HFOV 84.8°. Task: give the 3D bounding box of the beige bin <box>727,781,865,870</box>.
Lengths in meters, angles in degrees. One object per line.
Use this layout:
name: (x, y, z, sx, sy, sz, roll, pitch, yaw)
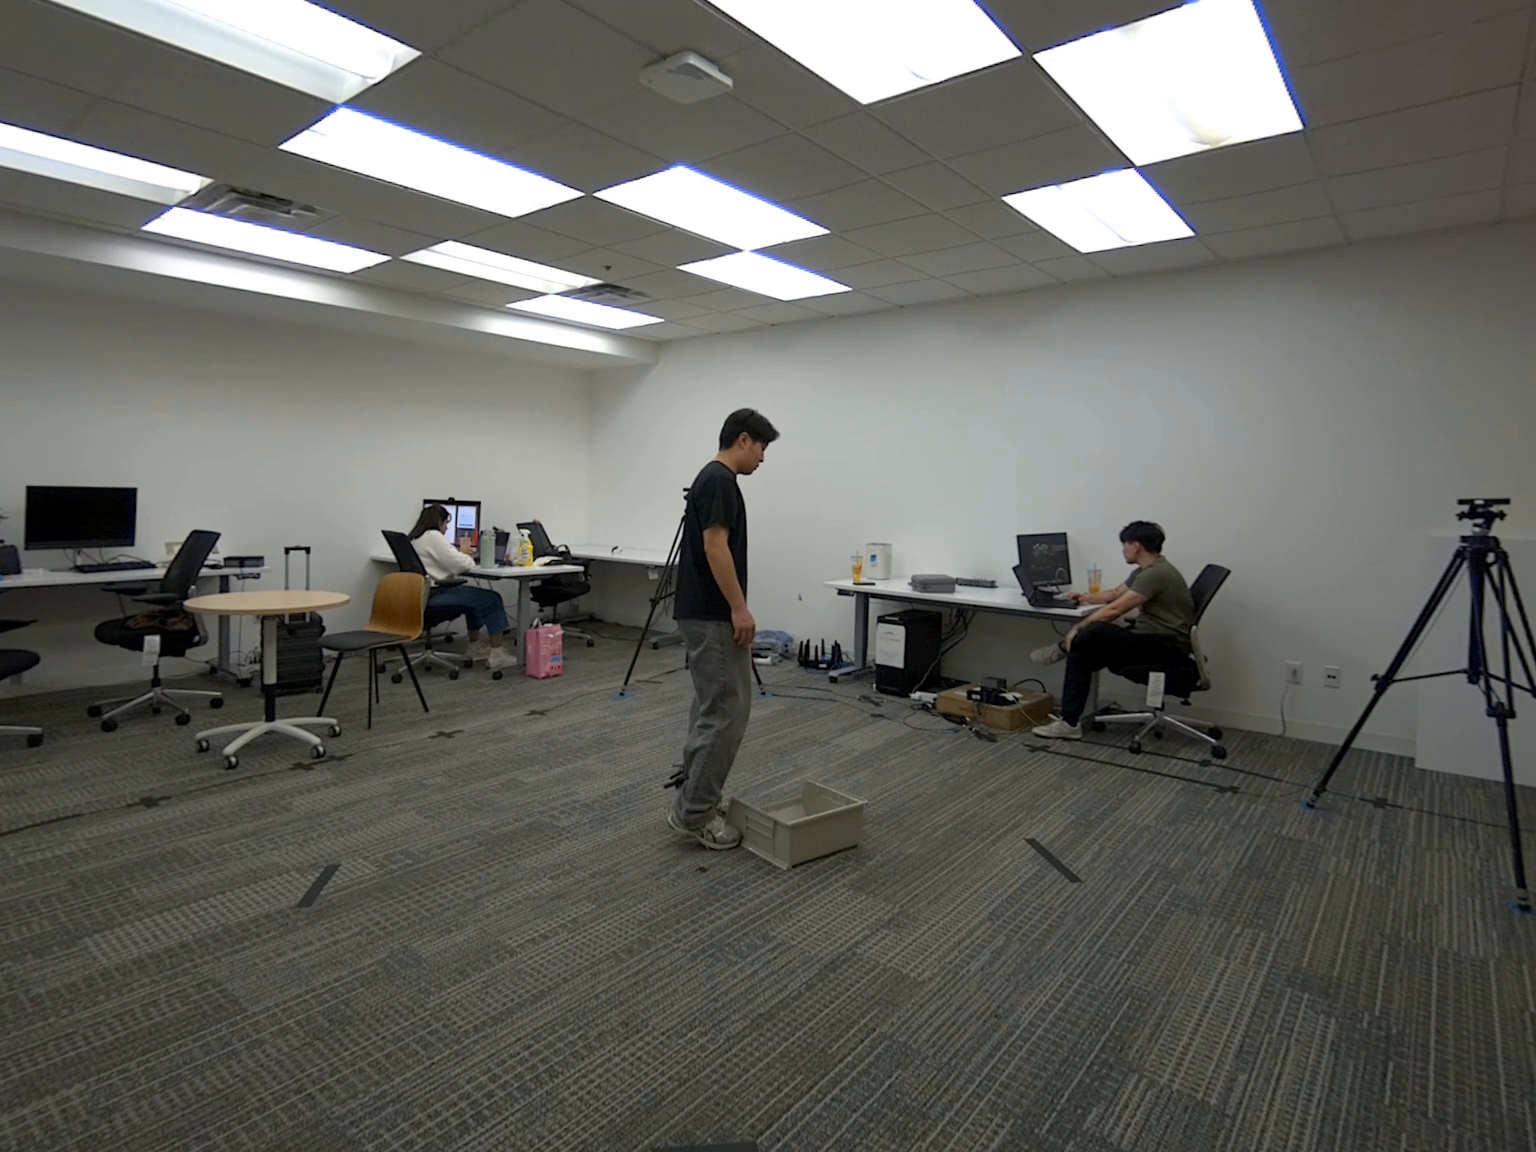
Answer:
beige bin: (0.107, 0.963, 3.368, 0.410, 0.188, 0.390, -3, 7, -38)
